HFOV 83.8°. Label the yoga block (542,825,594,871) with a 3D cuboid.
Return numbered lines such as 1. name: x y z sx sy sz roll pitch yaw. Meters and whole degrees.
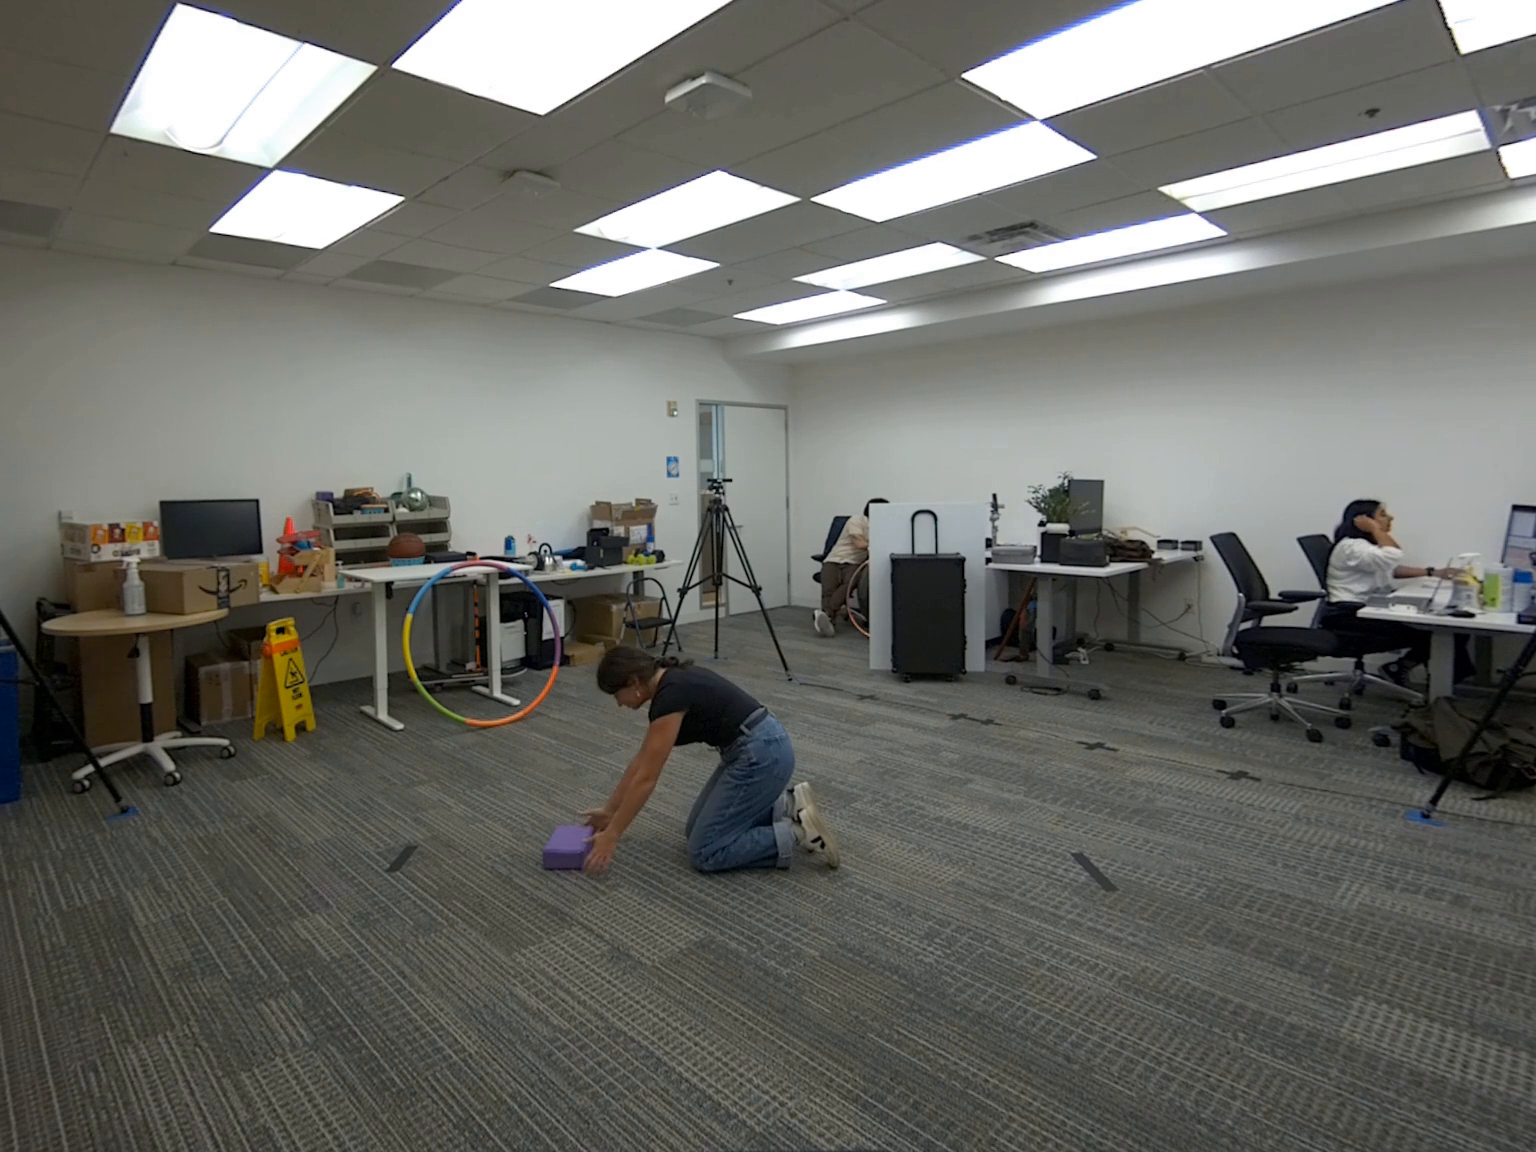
1. yoga block: -0.735 1.008 3.194 0.149 0.076 0.230 0 6 1
